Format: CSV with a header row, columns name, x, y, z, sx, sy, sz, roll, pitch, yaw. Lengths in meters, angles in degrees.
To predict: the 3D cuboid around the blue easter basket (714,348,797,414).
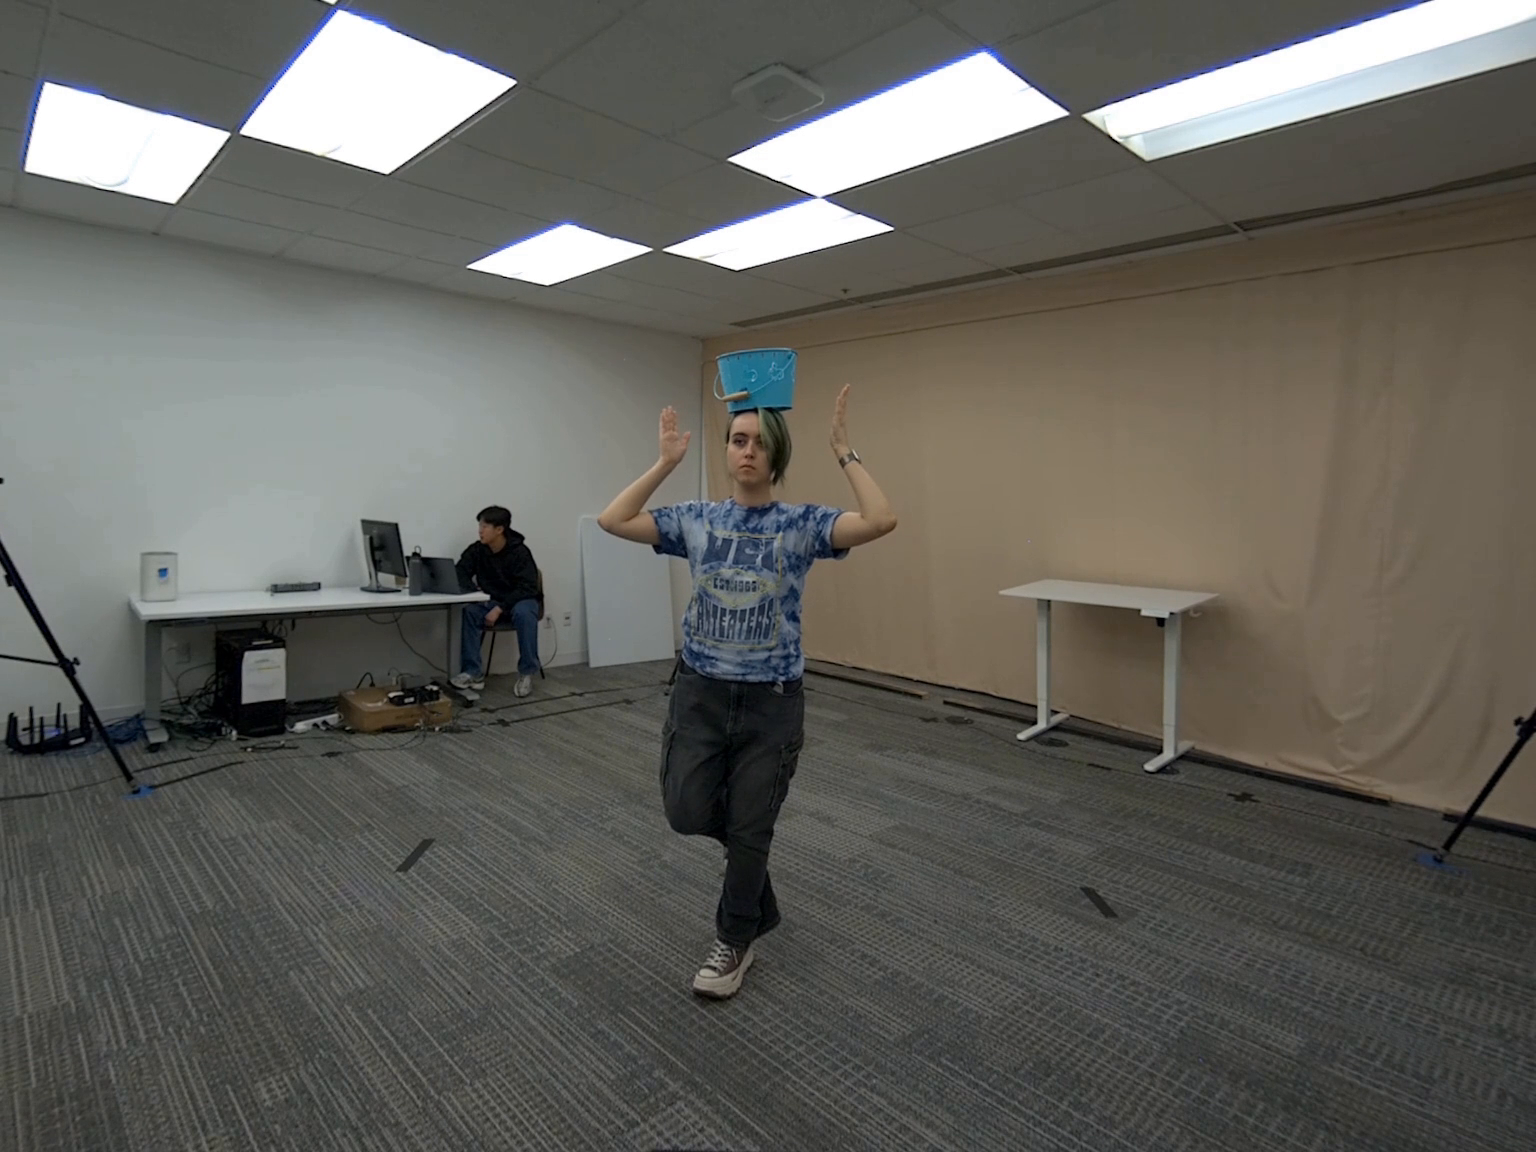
name,x,y,z,sx,sy,sz,roll,pitch,yaw
blue easter basket,-0.029,-0.534,2.347,0.243,0.155,0.245,-2,6,-1
